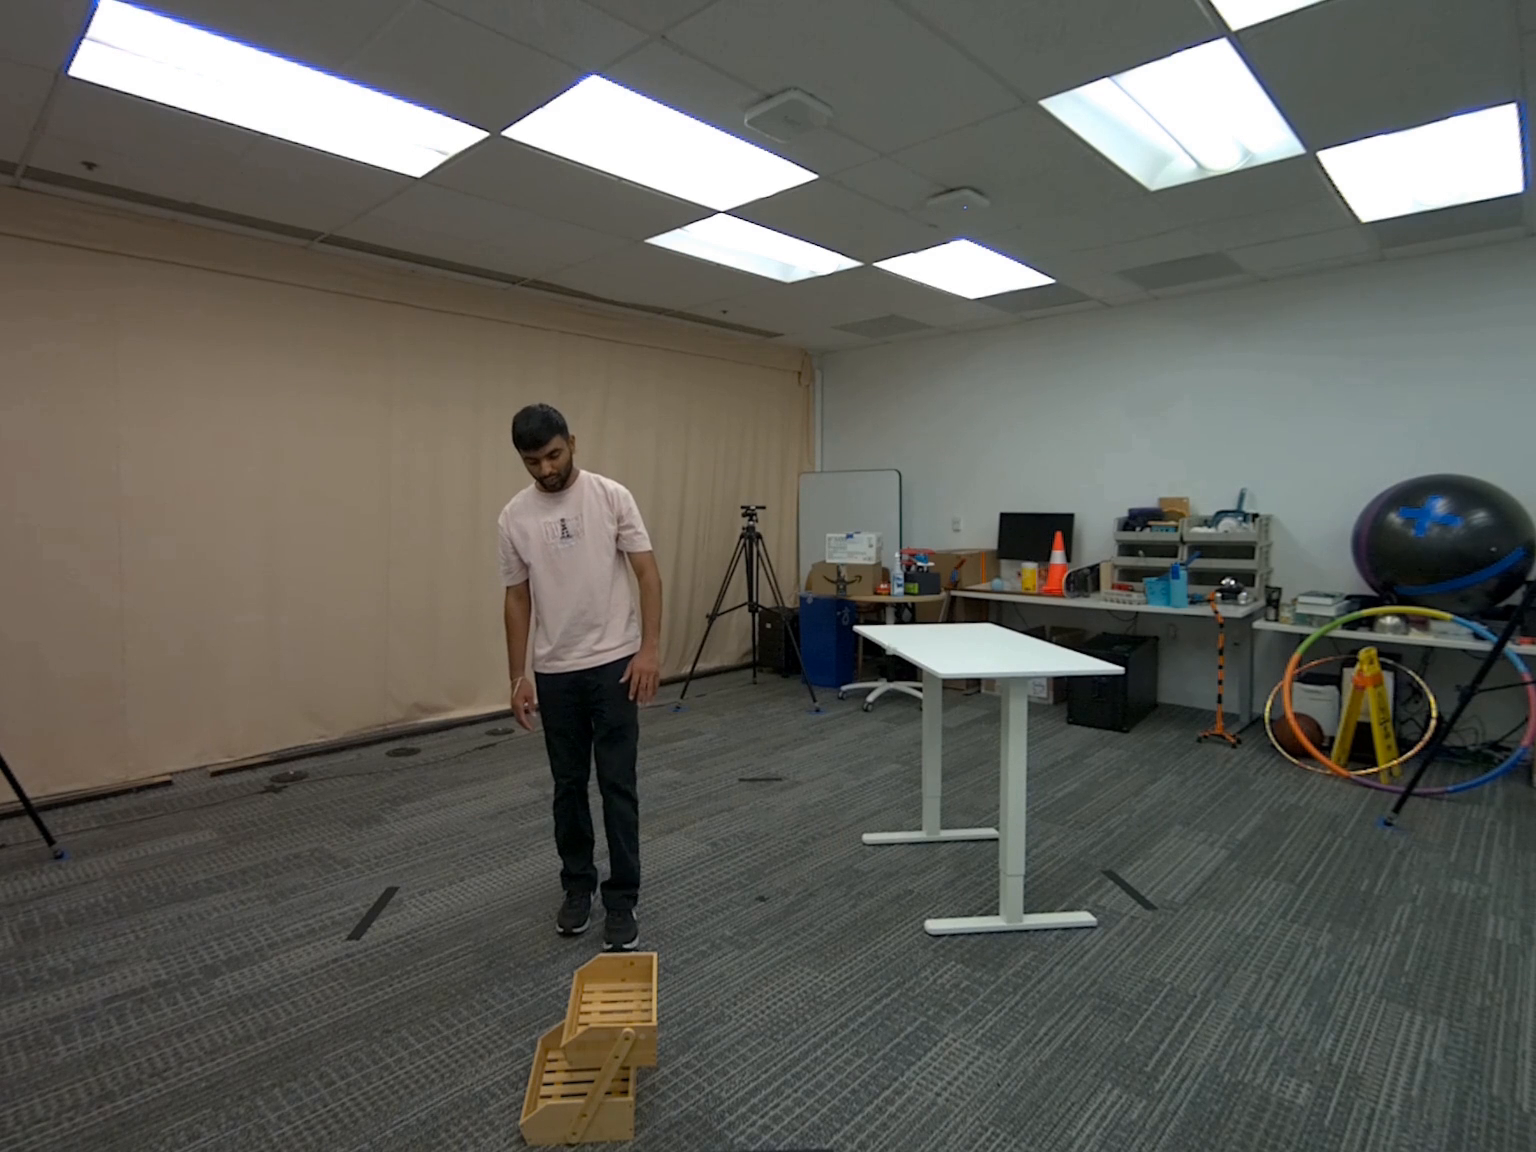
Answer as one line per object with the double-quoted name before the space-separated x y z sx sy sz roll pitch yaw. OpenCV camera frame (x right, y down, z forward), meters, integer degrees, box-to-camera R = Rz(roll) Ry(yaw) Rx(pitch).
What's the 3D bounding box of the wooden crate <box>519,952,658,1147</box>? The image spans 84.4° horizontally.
"wooden crate" -0.417 1.102 1.976 0.300 0.273 0.327 0 4 -6
